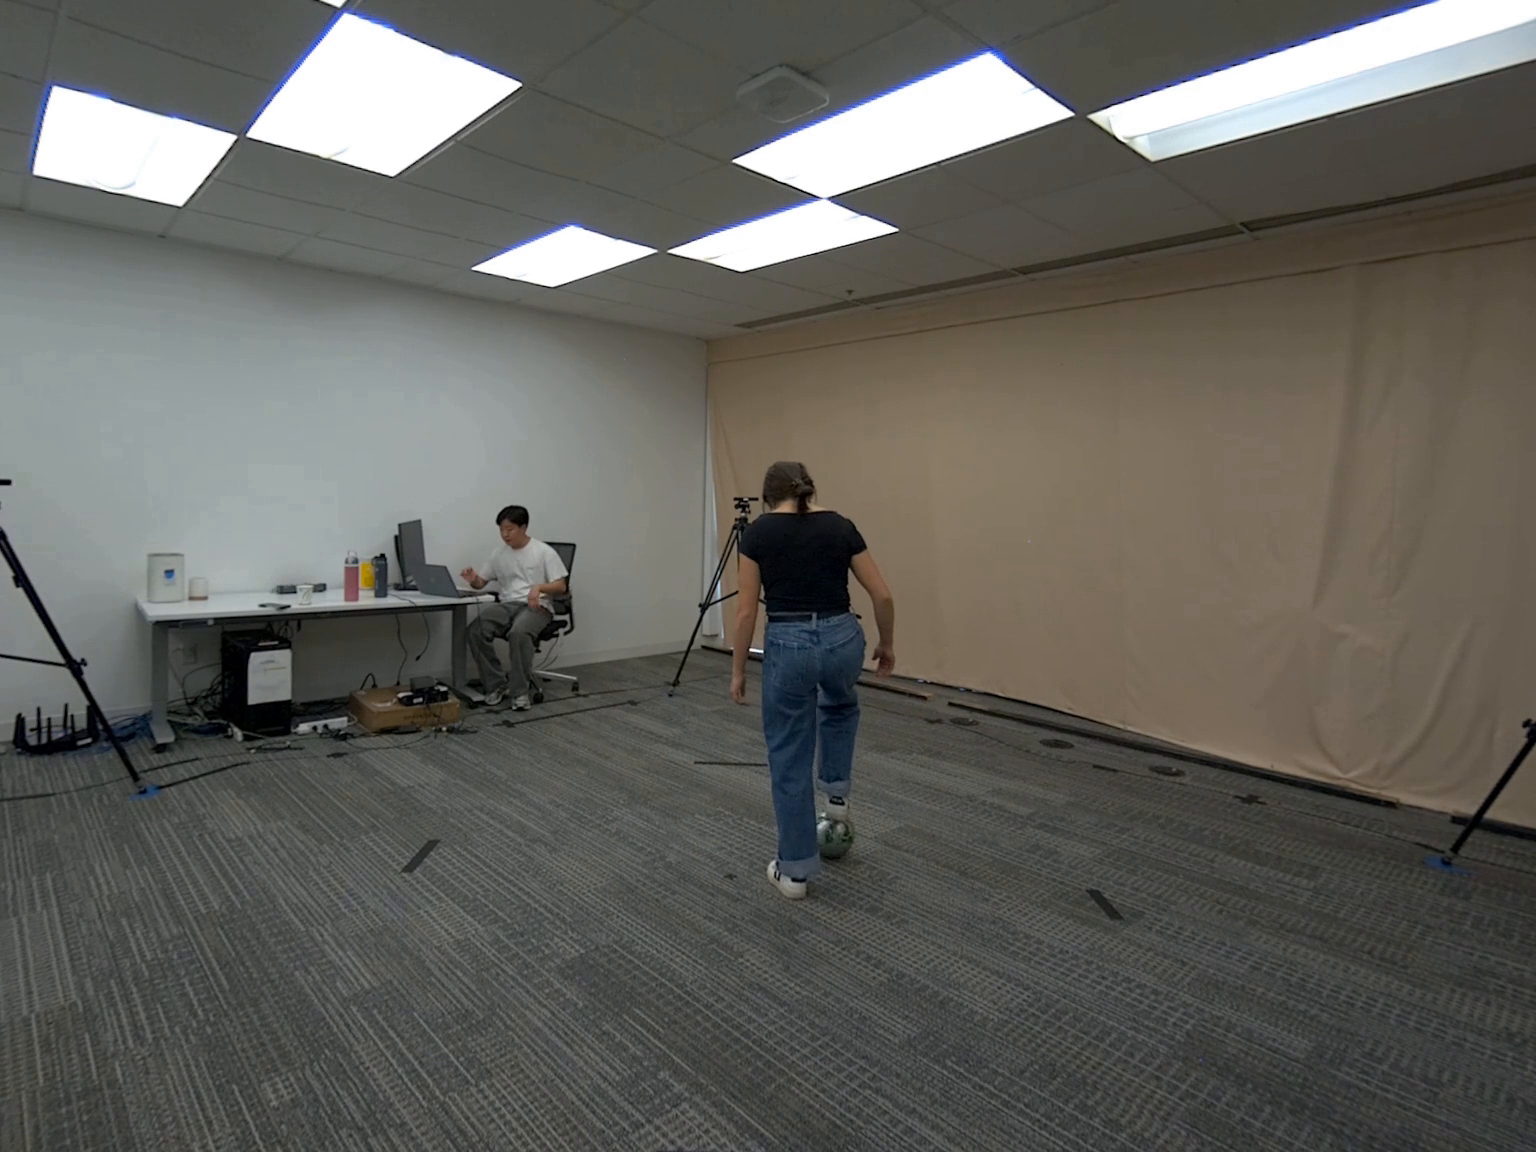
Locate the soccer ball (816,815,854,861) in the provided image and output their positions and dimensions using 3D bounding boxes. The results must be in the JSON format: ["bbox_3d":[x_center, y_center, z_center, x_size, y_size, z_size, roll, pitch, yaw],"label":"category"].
[{"bbox_3d":[0.236,1.007,3.289,0.187,0.187,0.188,1,4,-1],"label":"soccer ball"}]
